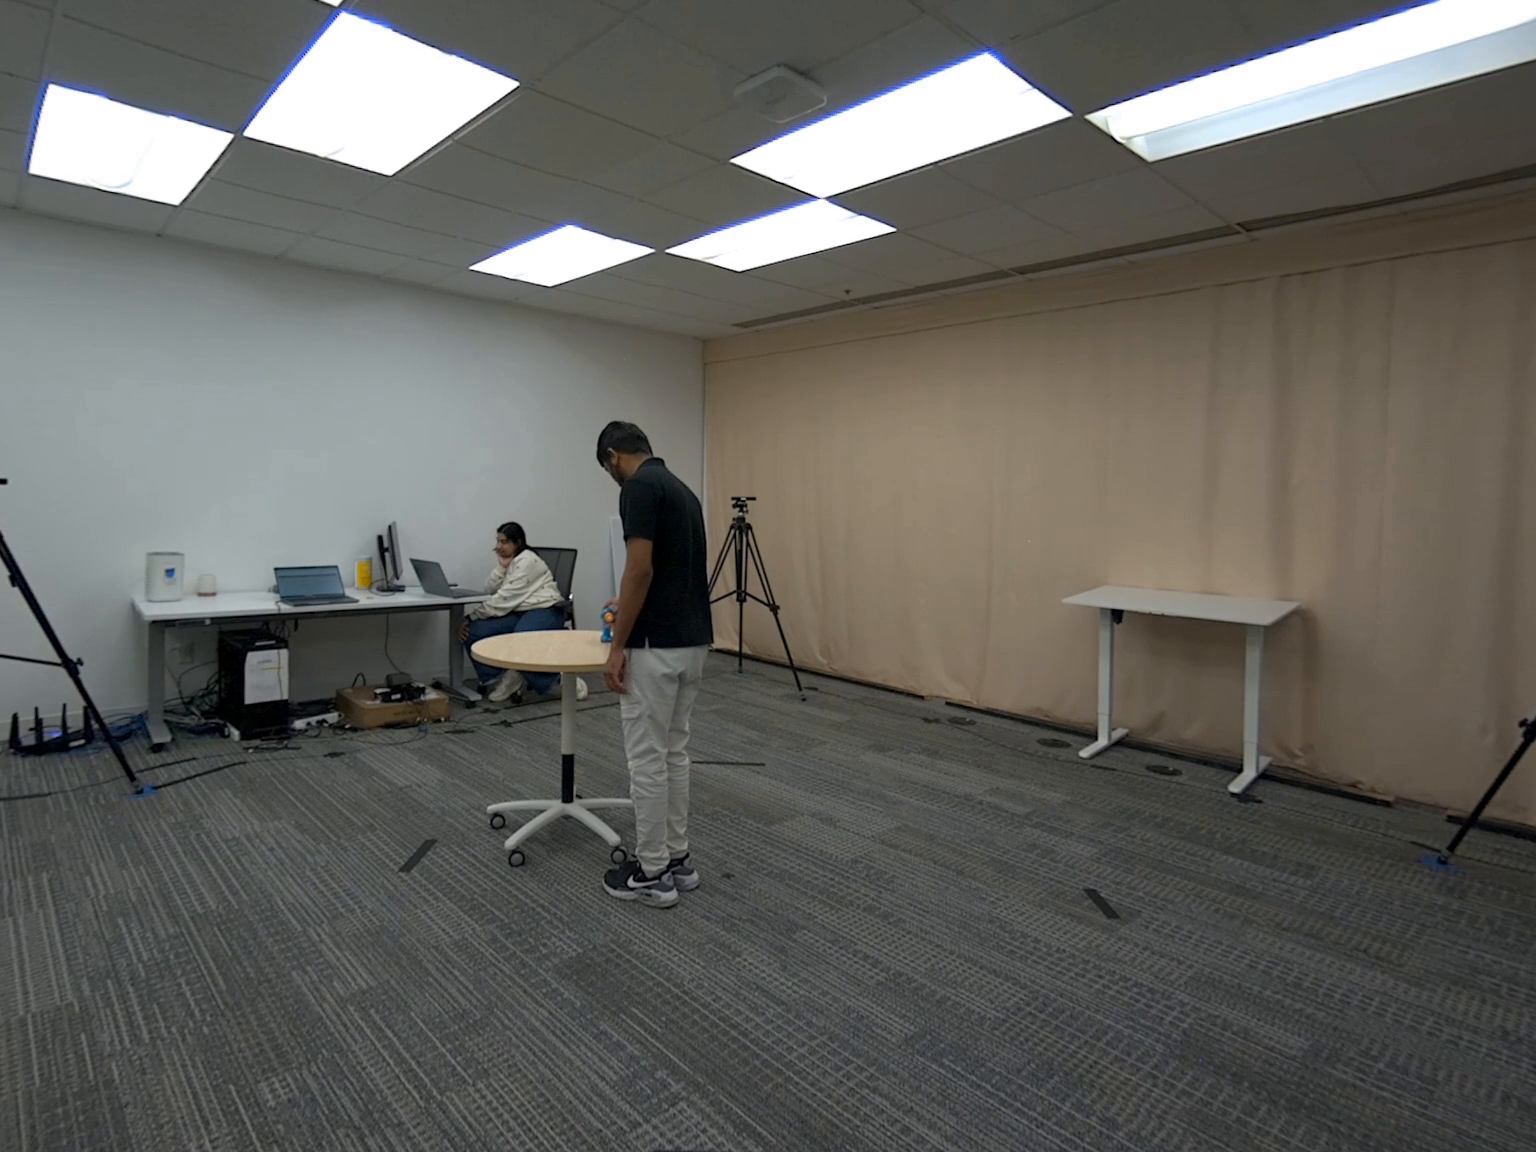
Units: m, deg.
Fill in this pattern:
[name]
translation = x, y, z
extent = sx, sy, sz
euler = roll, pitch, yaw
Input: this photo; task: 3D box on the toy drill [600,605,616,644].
[toy drill]
translation = -0.665, 0.205, 3.482
extent = 0.060, 0.146, 0.172
euler = 3, 4, -18
